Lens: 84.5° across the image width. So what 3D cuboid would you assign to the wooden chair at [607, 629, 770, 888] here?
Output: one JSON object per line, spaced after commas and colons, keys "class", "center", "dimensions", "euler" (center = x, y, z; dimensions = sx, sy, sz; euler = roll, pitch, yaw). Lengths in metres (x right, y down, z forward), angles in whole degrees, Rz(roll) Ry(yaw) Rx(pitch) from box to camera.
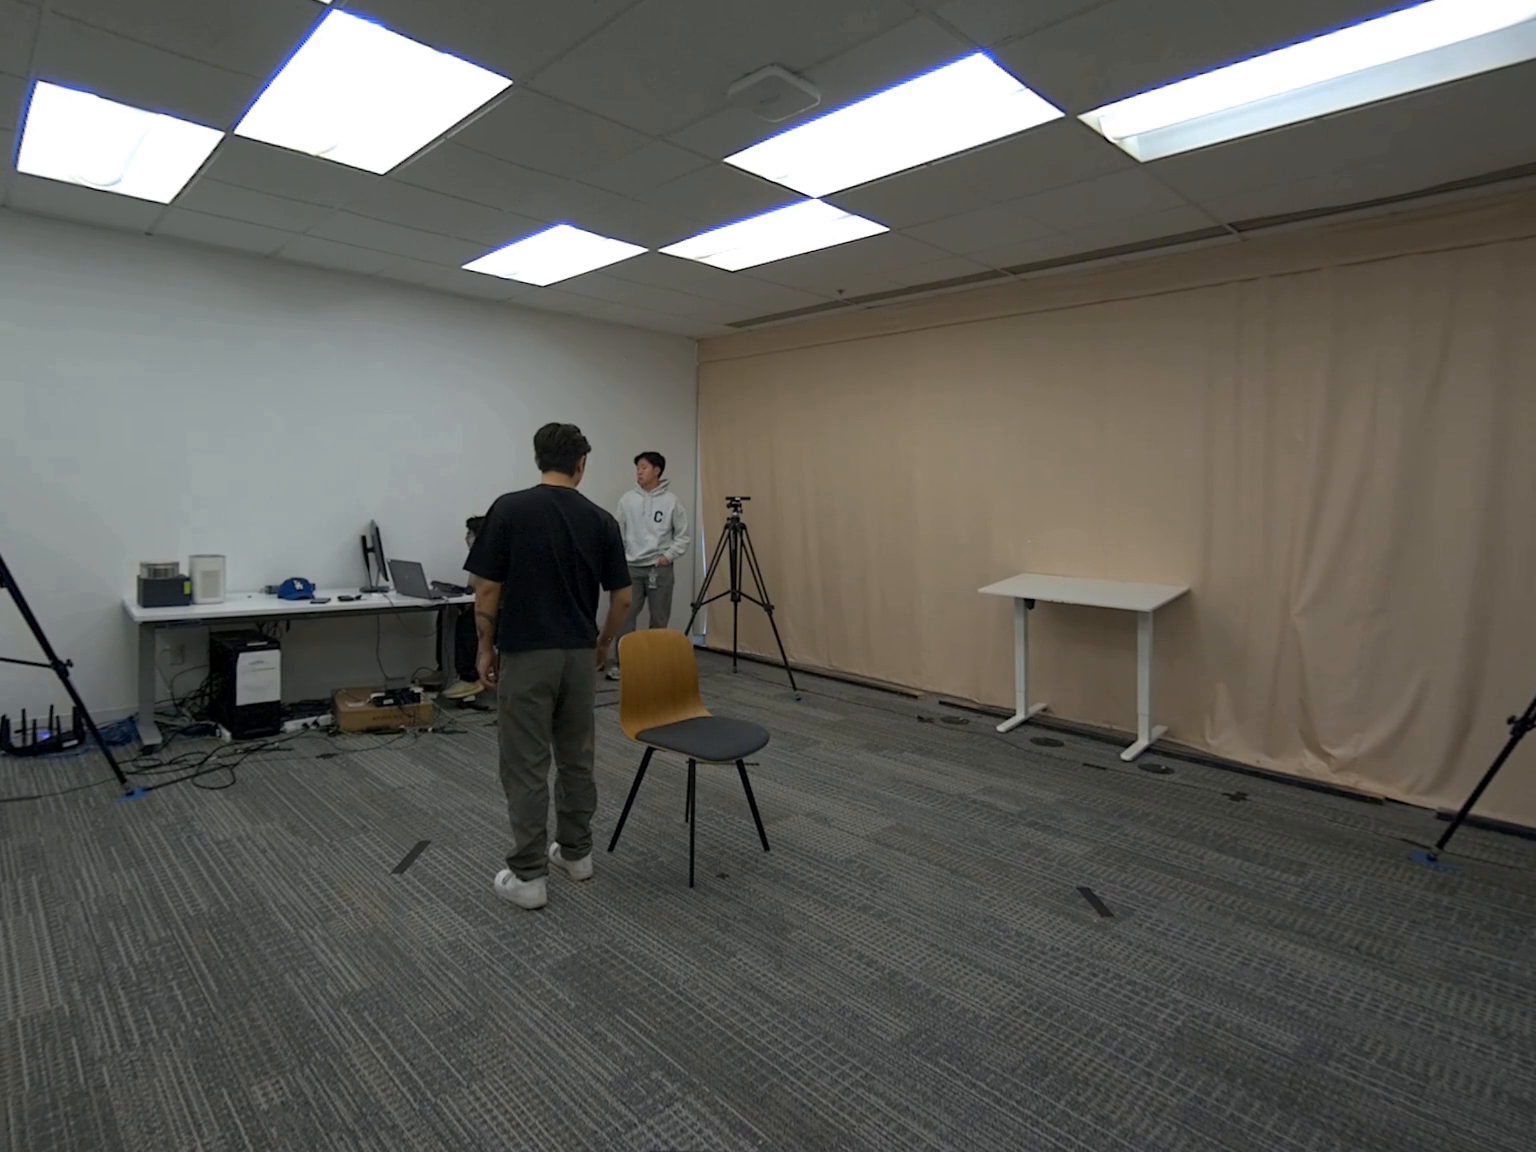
{"class": "wooden chair", "center": [-0.296, 0.660, 3.281], "dimensions": [0.535, 0.877, 0.467], "euler": [-1, 1, 39]}
